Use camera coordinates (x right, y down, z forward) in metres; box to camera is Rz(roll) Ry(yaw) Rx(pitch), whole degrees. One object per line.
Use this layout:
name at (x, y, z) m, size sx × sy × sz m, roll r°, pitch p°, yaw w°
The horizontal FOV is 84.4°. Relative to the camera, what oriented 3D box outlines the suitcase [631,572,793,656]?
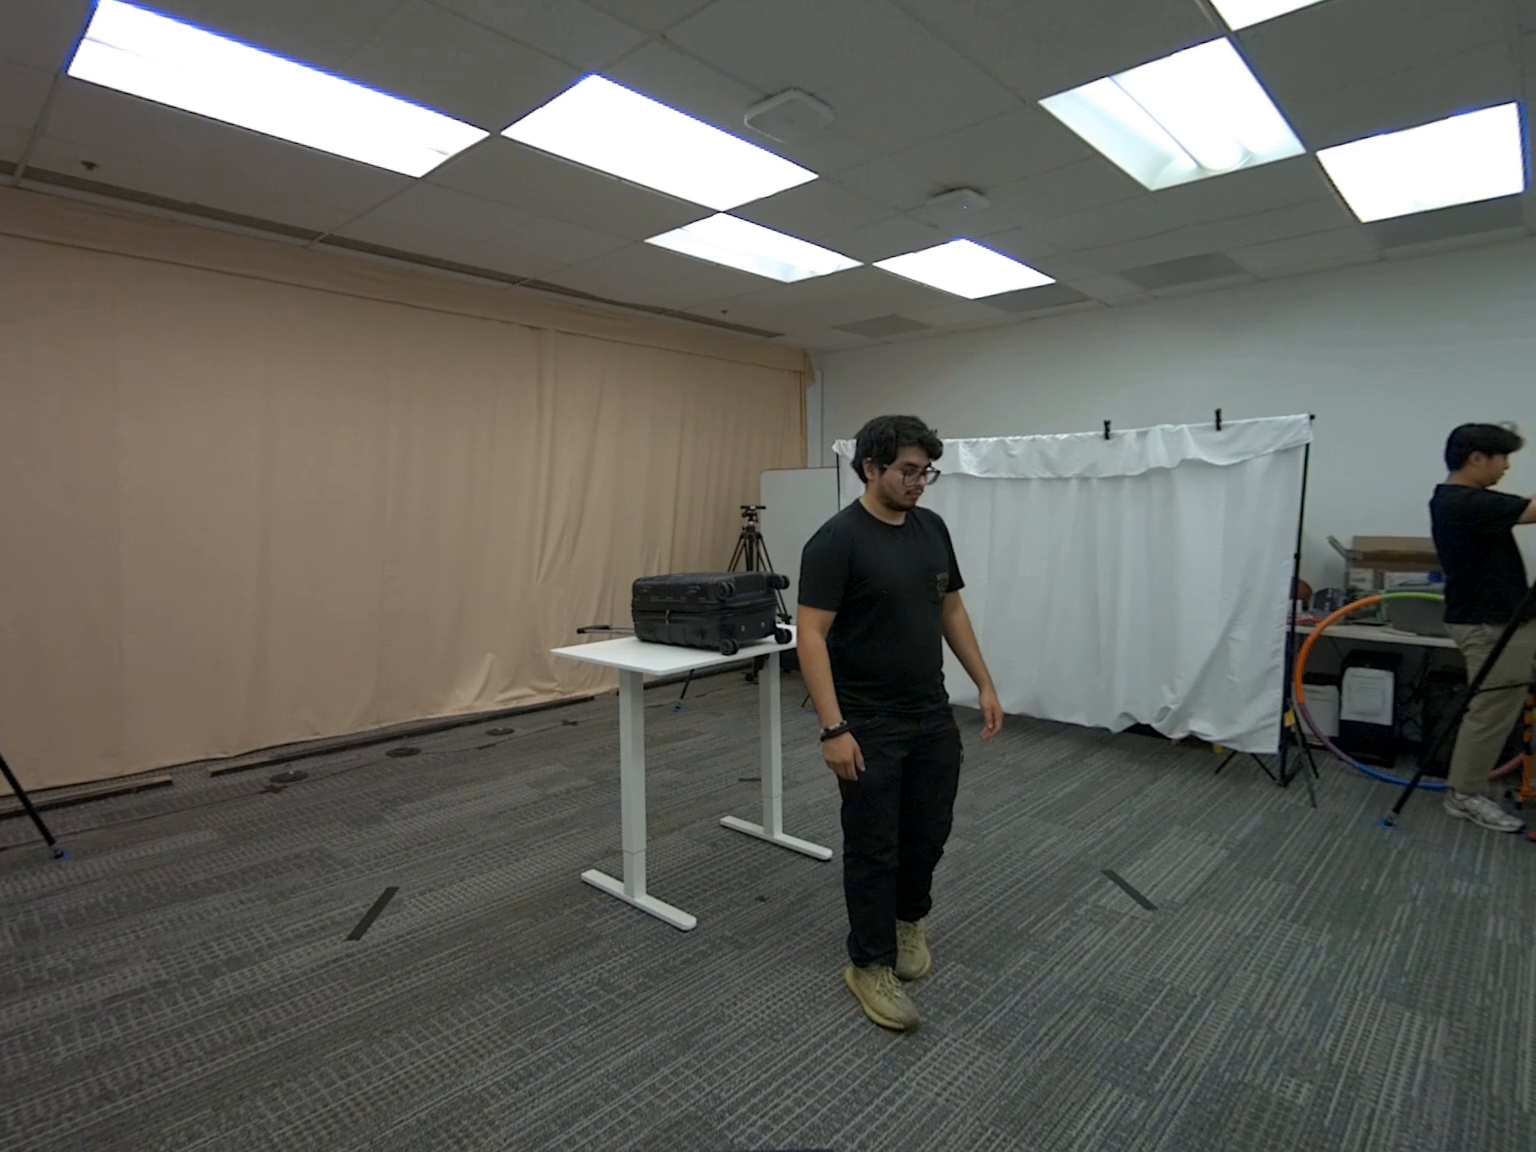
suitcase at (-0.381, 0.120, 3.293) m, size 1.011 × 0.256 × 0.373 m, roll 2°, pitch 6°, yaw 43°
